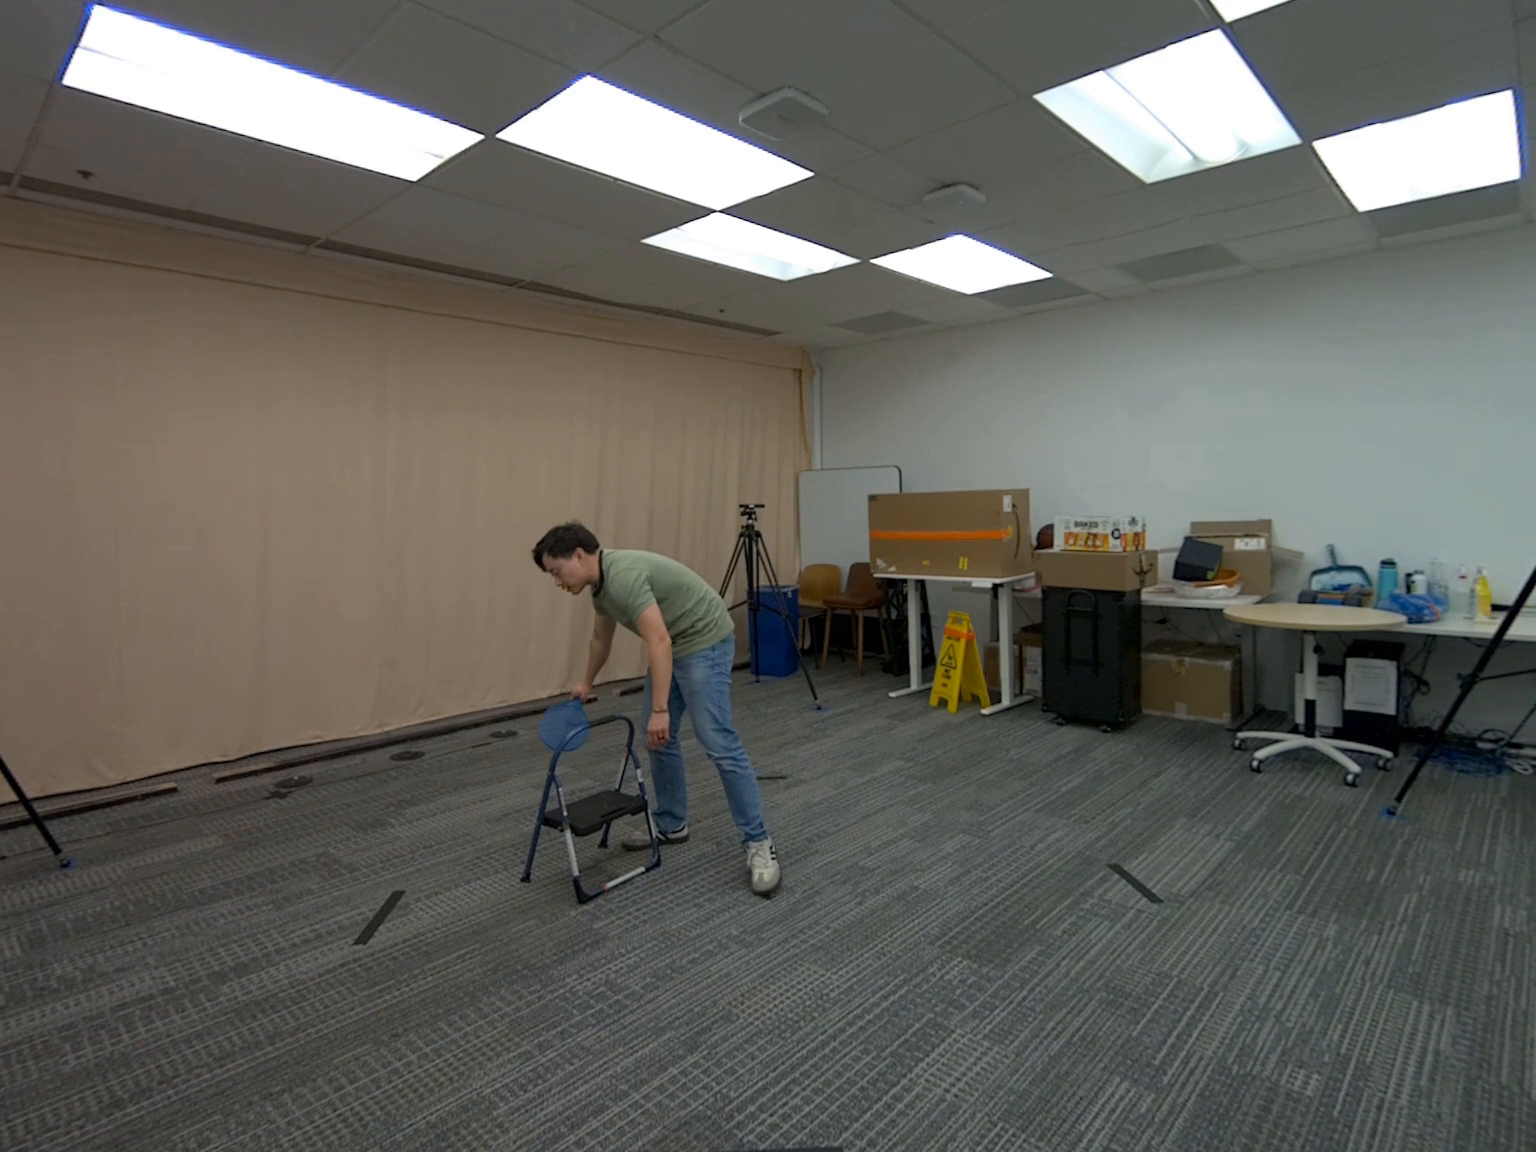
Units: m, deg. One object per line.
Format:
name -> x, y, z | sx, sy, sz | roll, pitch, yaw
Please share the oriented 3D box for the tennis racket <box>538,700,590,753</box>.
tennis racket -> -0.831, 0.608, 3.627 | 0.213, 0.031, 0.436 | 19, 30, -2
